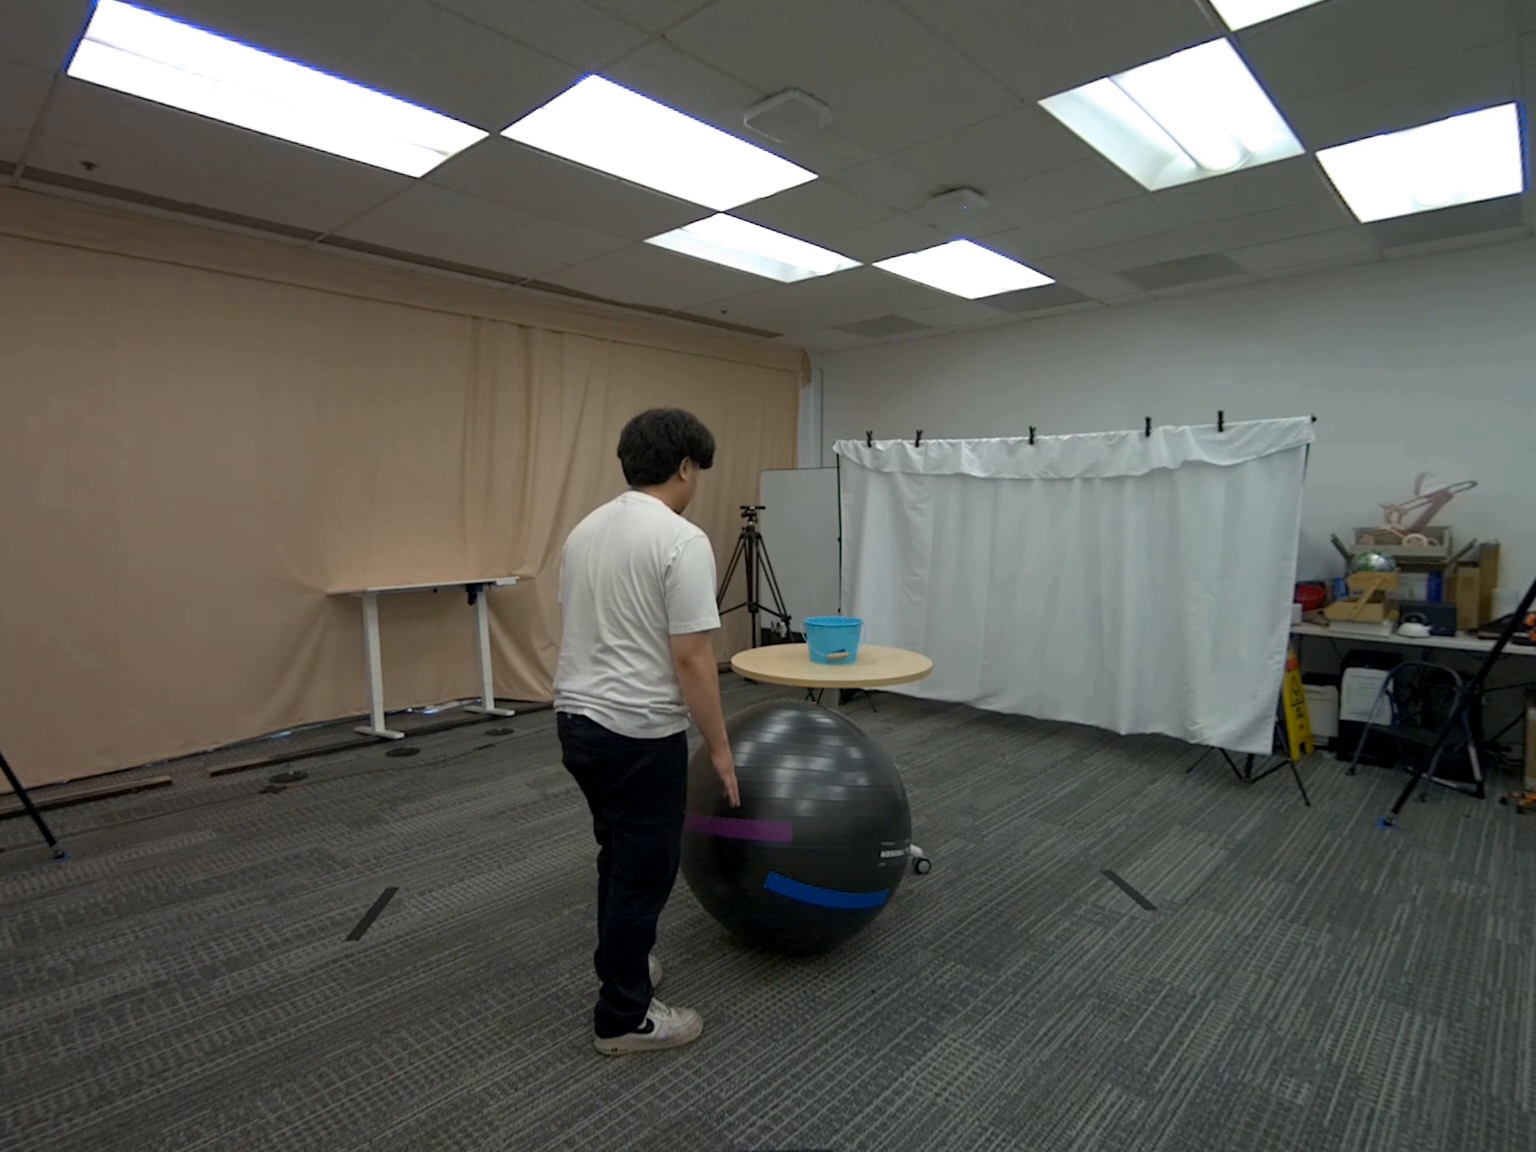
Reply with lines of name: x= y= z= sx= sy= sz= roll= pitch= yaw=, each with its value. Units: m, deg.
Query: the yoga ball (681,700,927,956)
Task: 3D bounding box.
yoga ball: x=0.078 y=0.799 z=2.714 sx=0.757 sy=0.756 sz=0.760 roll=0 pitch=4 yaw=-2
